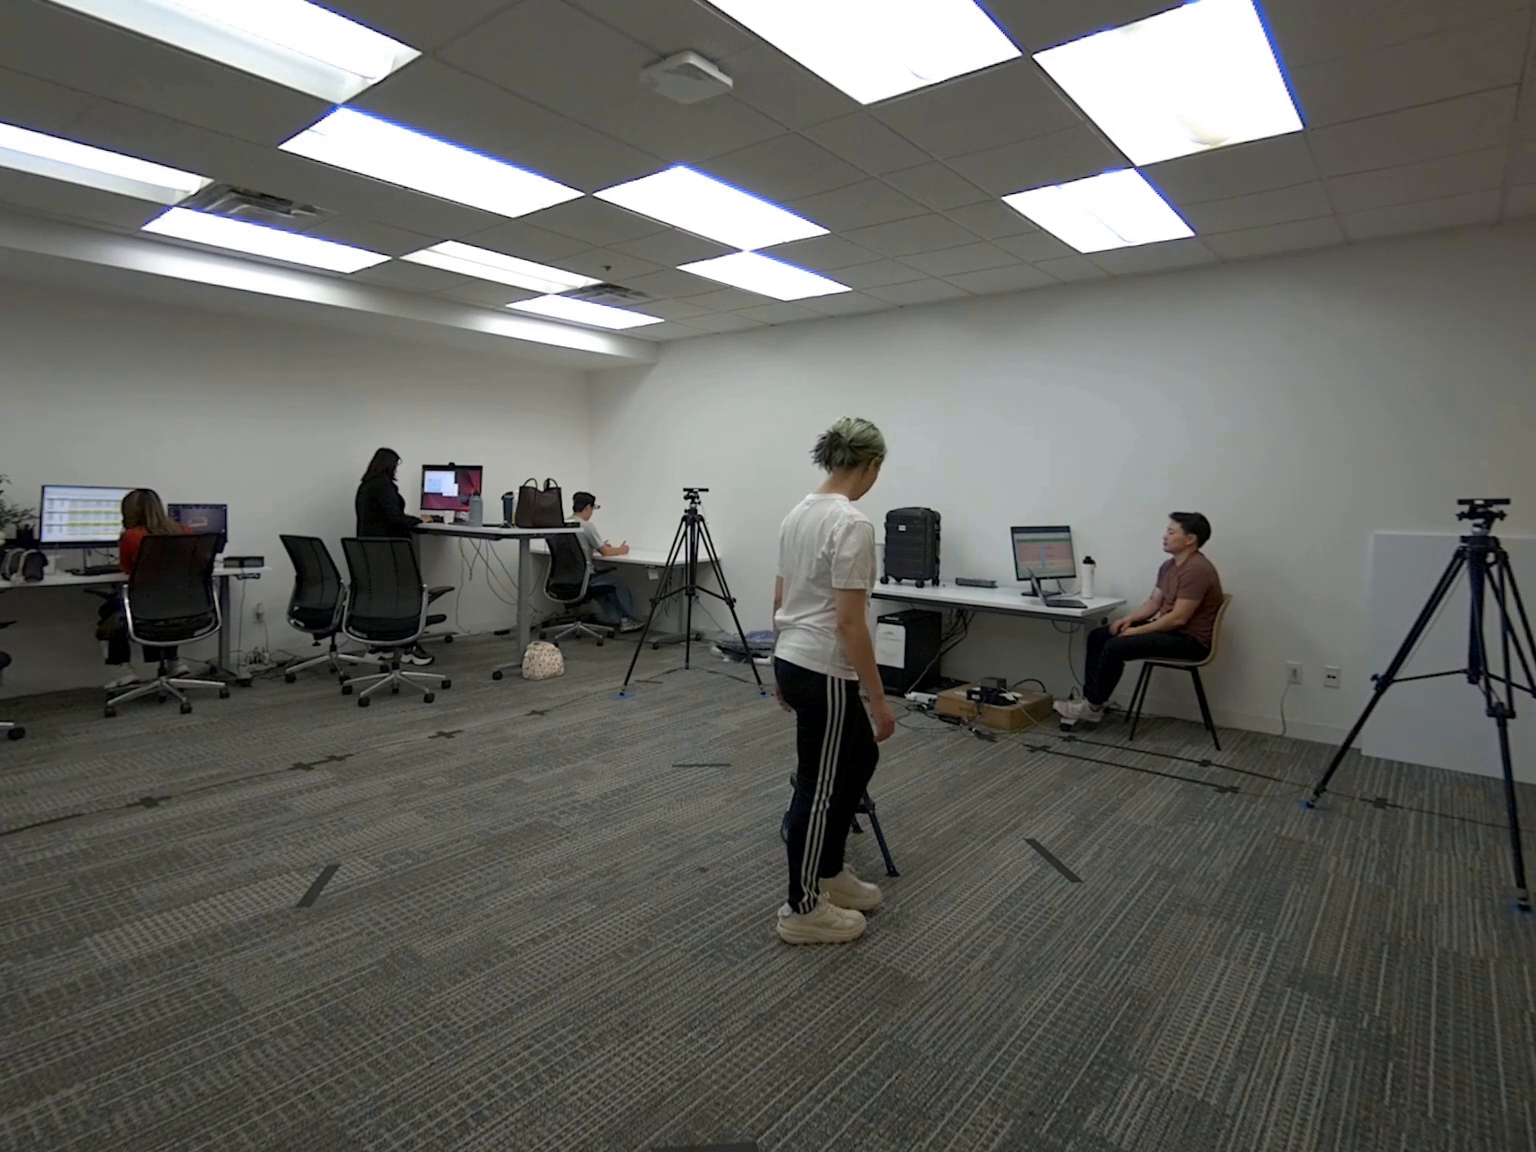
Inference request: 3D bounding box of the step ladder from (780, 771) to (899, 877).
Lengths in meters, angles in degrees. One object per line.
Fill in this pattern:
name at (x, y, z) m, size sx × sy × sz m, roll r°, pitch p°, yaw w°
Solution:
step ladder at (0.265, 0.762, 3.253) m, size 0.345 × 0.604 × 0.437 m, roll 1°, pitch 4°, yaw -12°
